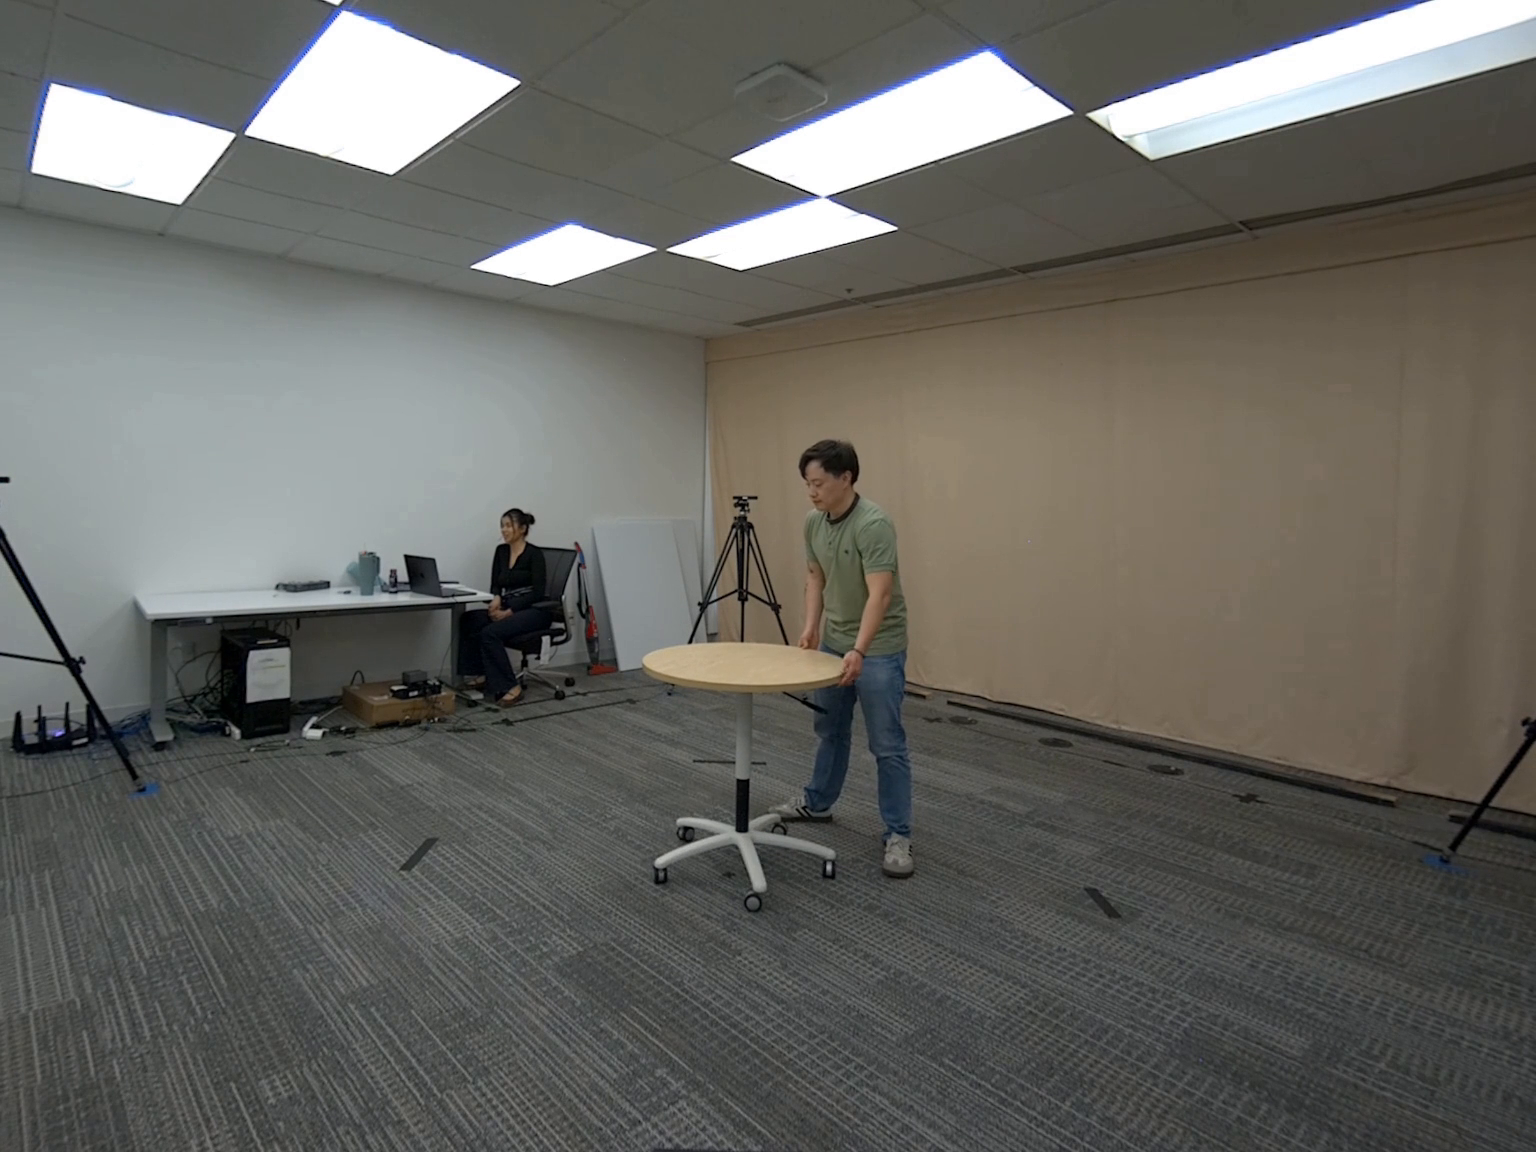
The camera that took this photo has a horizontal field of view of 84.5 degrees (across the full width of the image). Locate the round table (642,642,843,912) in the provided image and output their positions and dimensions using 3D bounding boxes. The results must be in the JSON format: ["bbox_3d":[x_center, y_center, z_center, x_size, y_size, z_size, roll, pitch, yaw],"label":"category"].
[{"bbox_3d":[-0.093,0.712,3.140,0.763,0.792,0.767,2,4,-1],"label":"round table"}]
